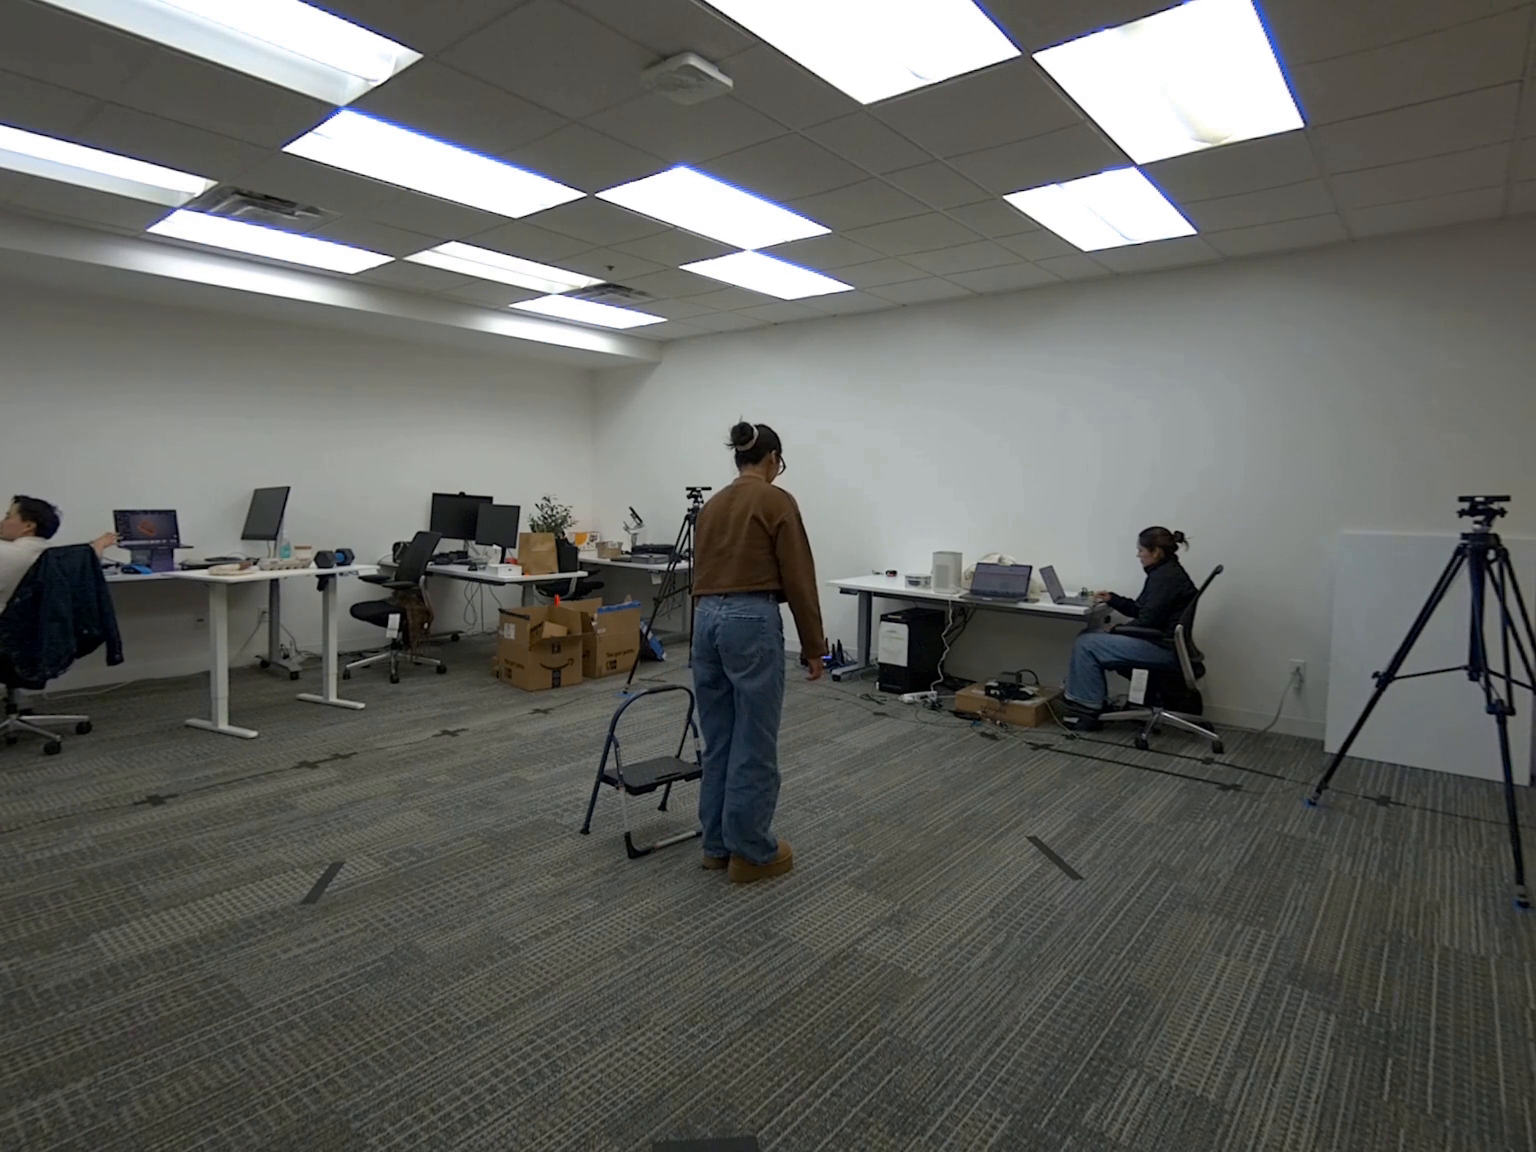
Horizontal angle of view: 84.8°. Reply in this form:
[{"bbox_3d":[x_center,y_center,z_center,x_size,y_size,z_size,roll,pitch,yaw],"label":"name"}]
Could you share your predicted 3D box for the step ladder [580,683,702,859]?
[{"bbox_3d":[-0.494,0.726,3.413,0.417,0.604,0.361,-3,6,-44],"label":"step ladder"}]
